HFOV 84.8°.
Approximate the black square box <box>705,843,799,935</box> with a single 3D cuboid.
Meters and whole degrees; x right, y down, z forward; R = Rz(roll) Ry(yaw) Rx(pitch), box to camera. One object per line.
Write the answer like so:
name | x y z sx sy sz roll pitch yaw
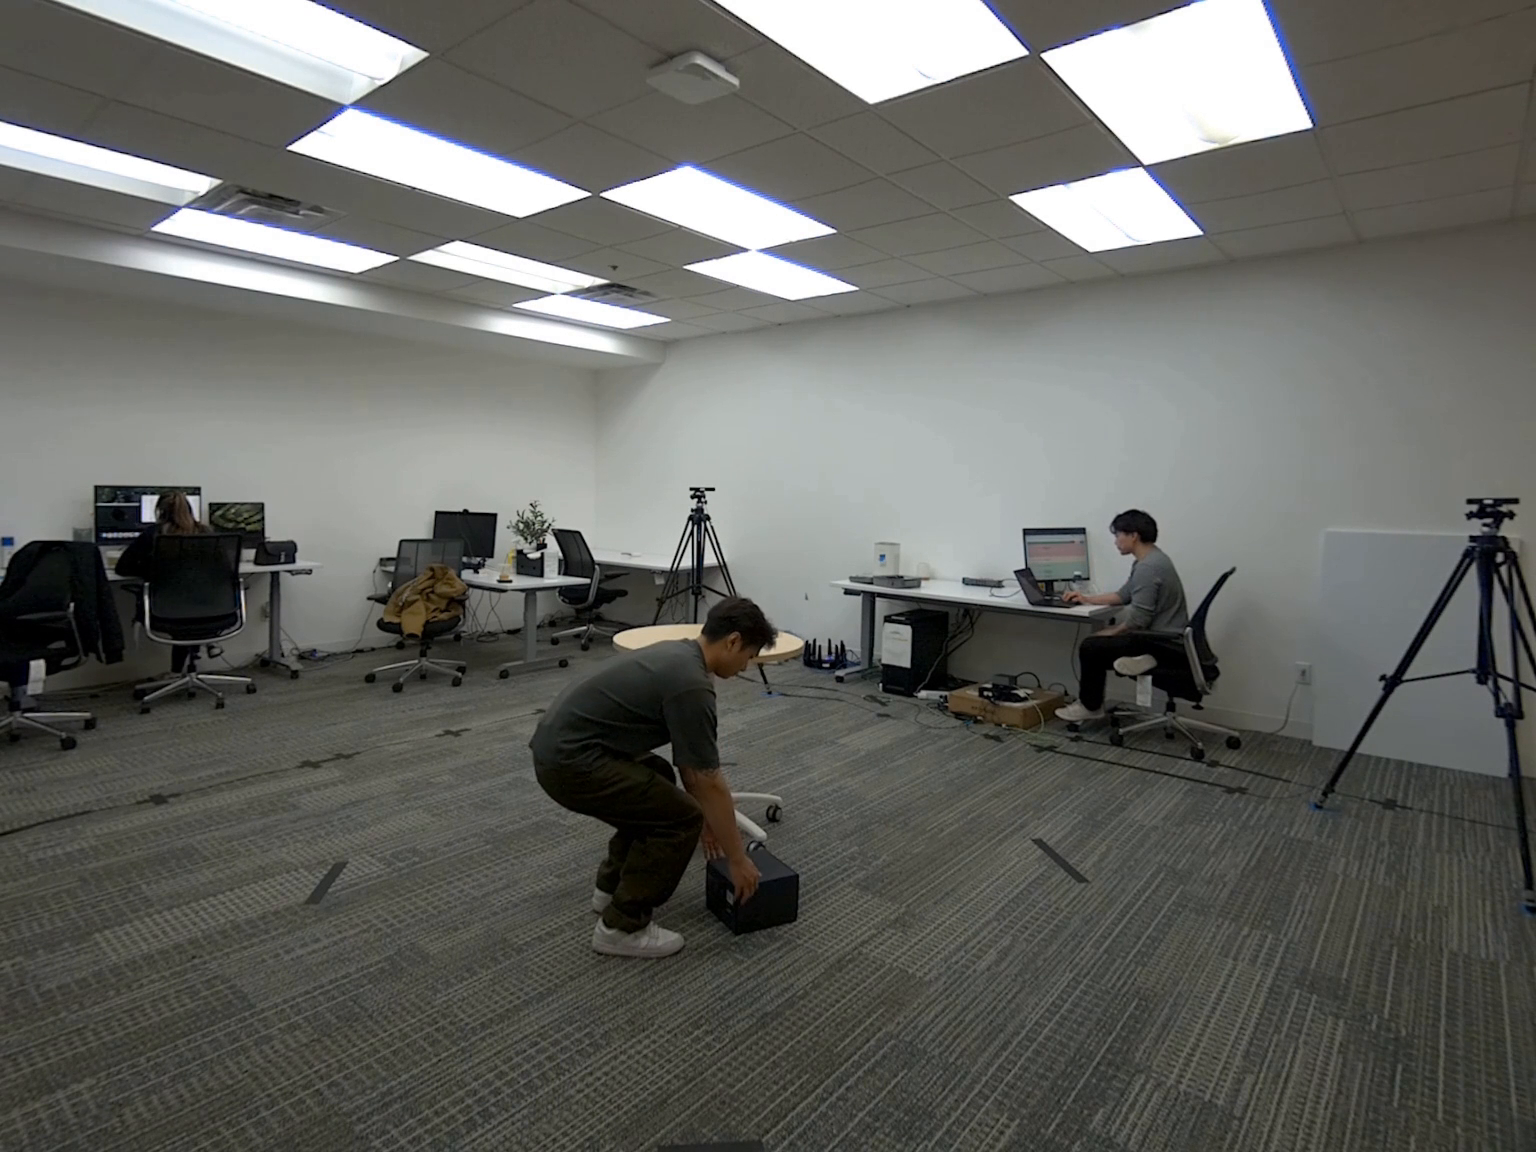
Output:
black square box | -0.061 1.020 2.774 0.222 0.155 0.223 -1 5 -30
